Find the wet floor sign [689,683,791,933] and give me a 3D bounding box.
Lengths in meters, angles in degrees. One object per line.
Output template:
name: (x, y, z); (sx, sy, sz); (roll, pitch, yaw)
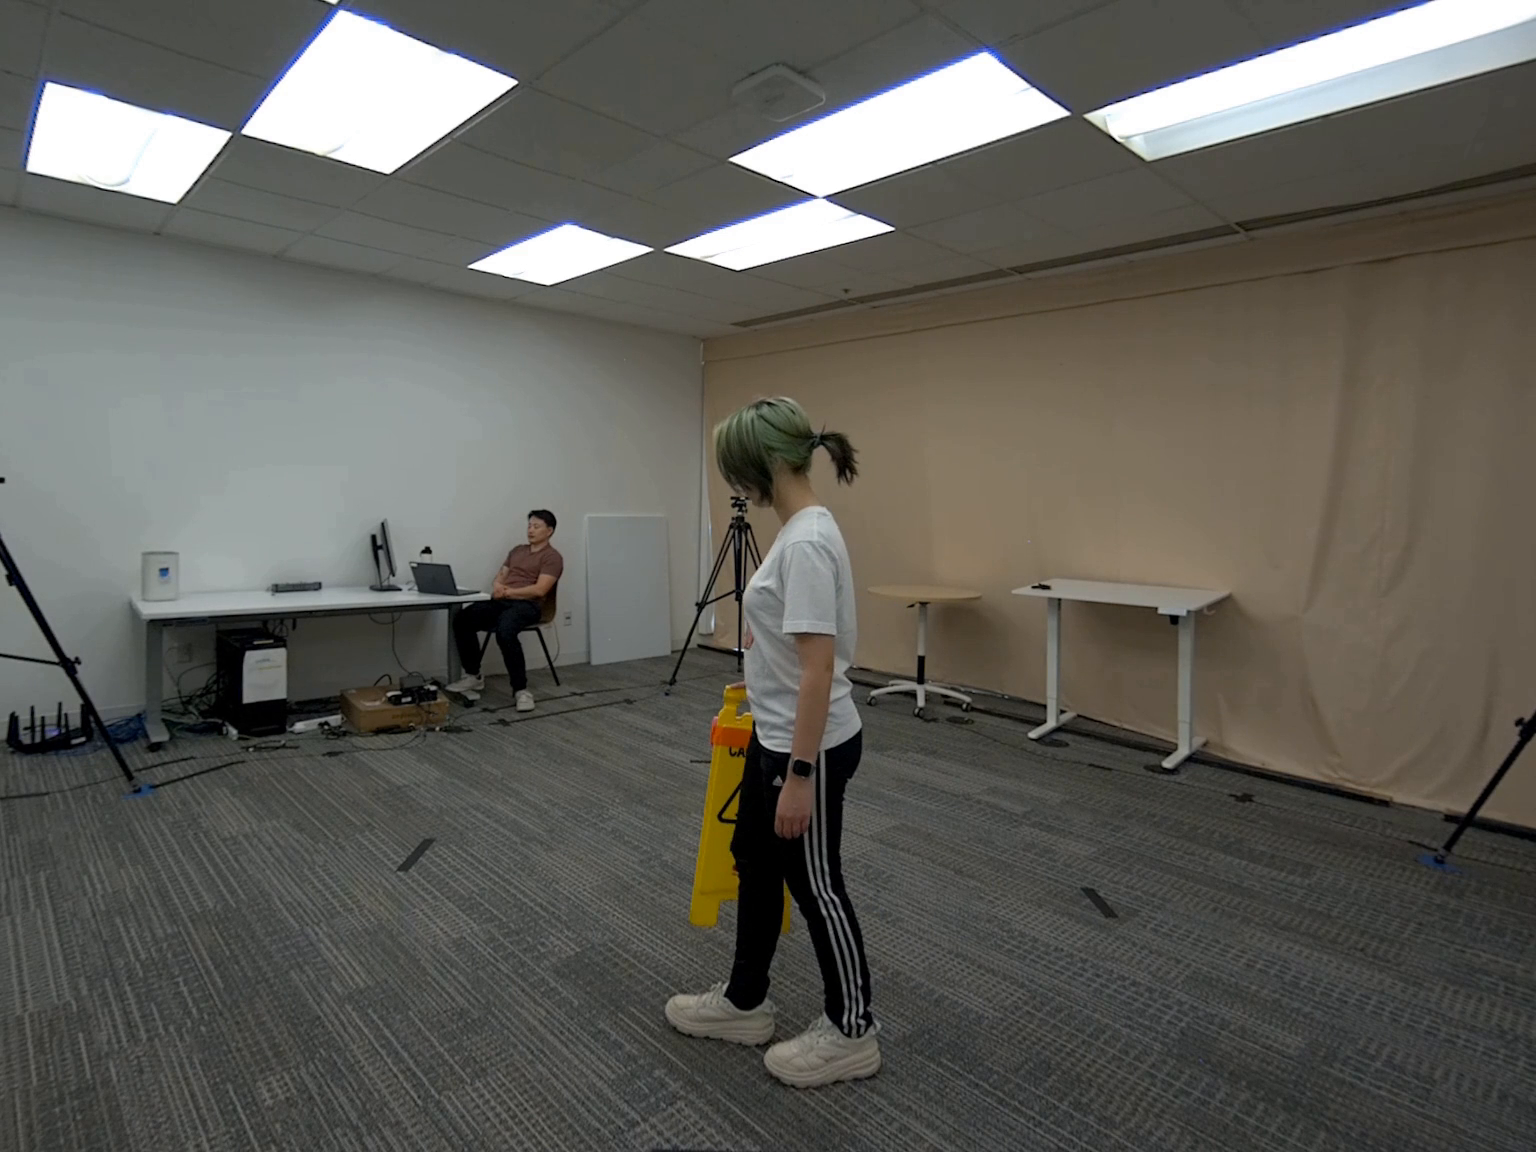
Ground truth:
wet floor sign: (-0.061, 0.644, 2.412); (0.282, 0.644, 0.291); (6, 4, -3)
